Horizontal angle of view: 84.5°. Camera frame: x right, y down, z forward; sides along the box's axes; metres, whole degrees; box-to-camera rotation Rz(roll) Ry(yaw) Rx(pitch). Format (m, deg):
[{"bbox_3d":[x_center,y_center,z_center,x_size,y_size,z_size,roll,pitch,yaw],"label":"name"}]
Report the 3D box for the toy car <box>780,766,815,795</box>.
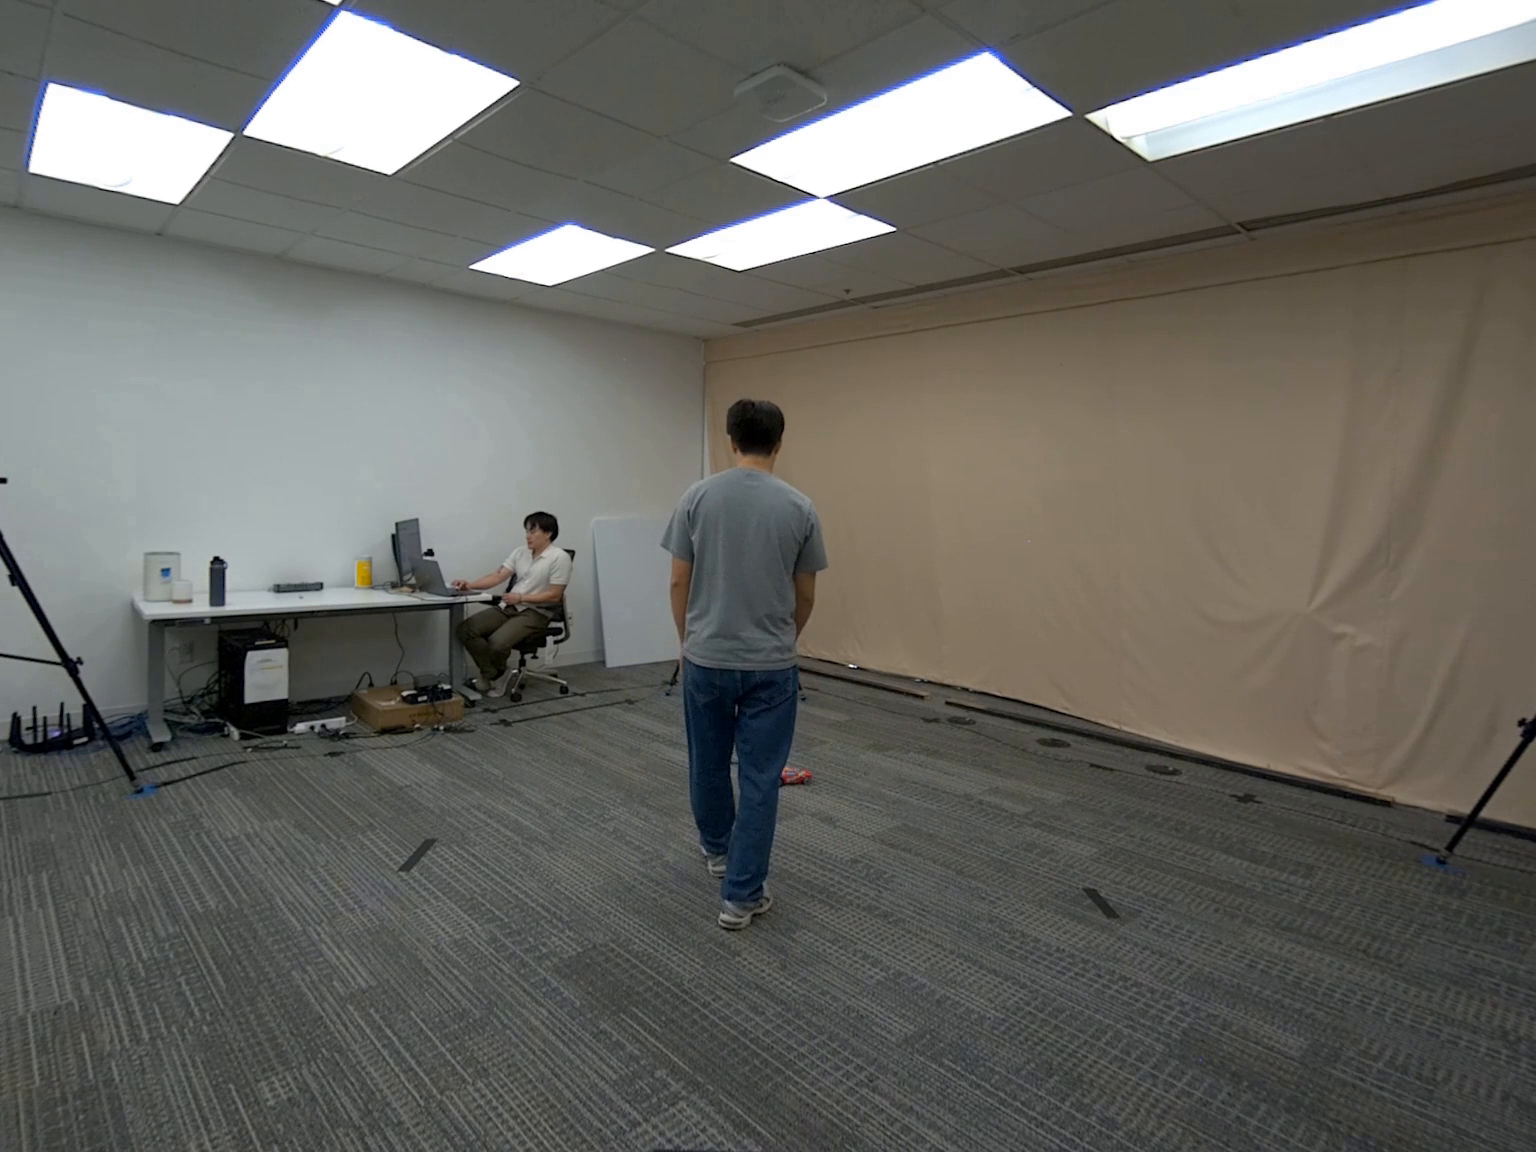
[{"bbox_3d":[0.078,0.994,4.162,0.250,0.083,0.132,13,0,-18],"label":"toy car"}]
